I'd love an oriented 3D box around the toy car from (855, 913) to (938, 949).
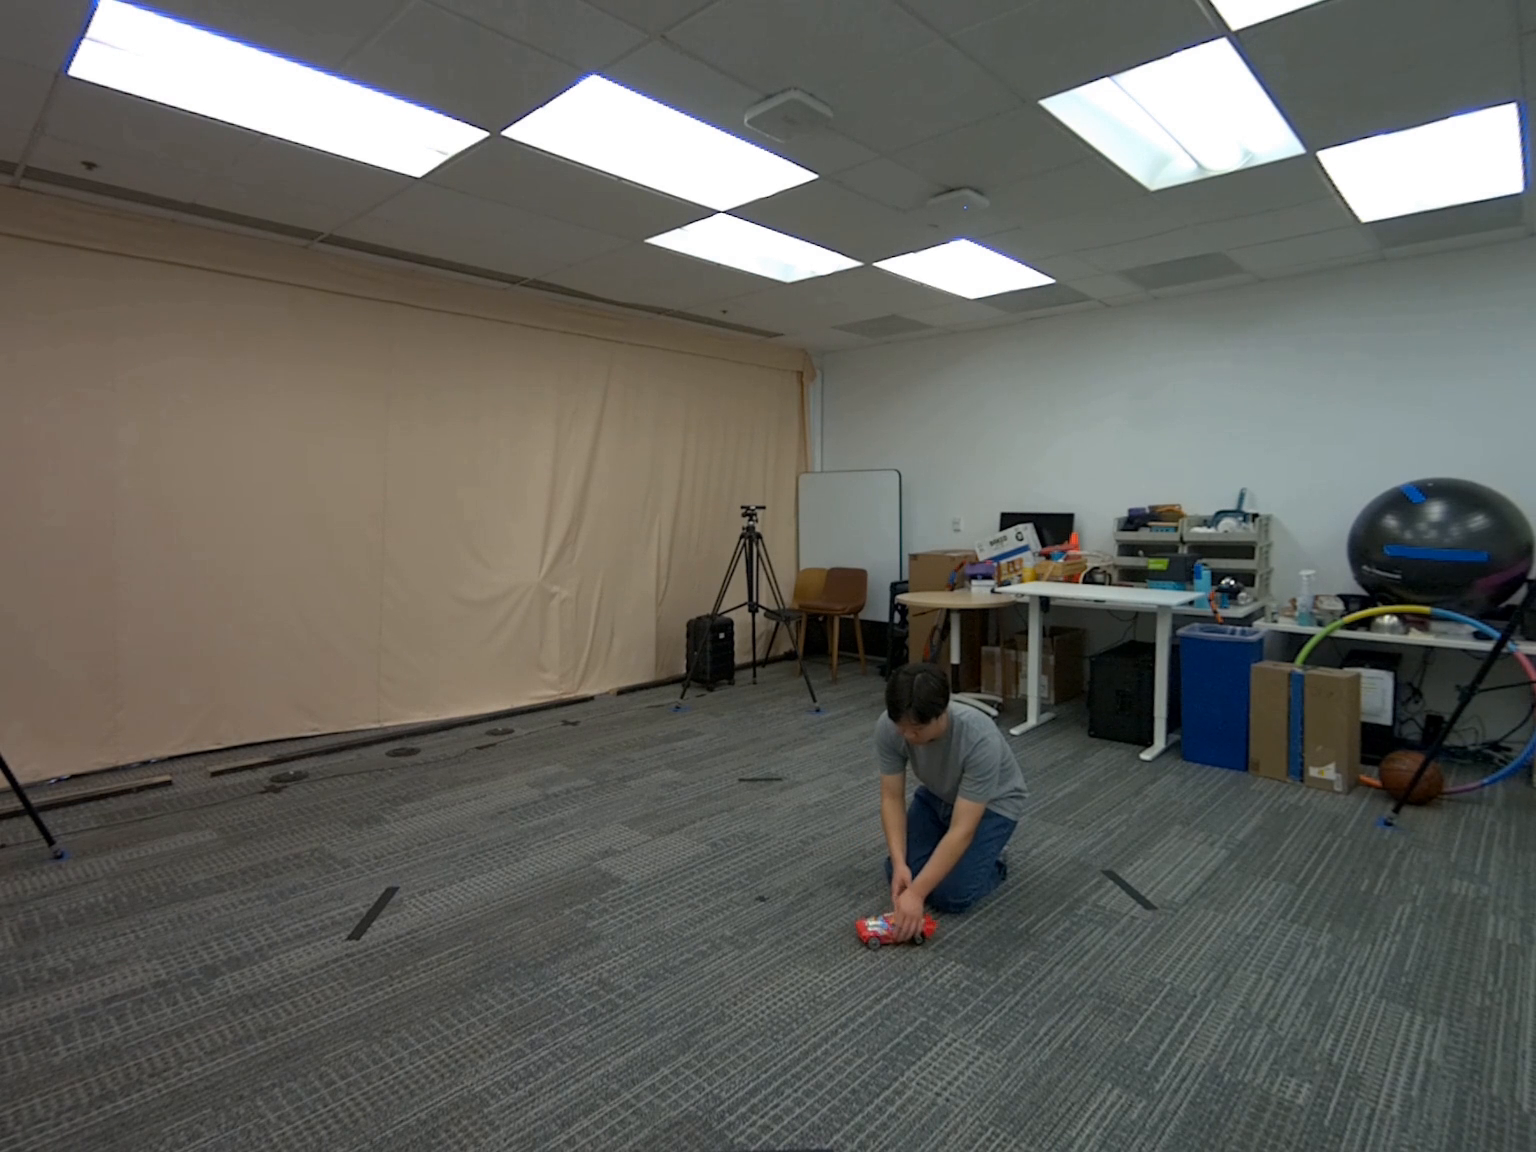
[{"bbox_3d":[0.417,1.136,2.699,0.253,0.083,0.132,-11,7,-7],"label":"toy car"}]
